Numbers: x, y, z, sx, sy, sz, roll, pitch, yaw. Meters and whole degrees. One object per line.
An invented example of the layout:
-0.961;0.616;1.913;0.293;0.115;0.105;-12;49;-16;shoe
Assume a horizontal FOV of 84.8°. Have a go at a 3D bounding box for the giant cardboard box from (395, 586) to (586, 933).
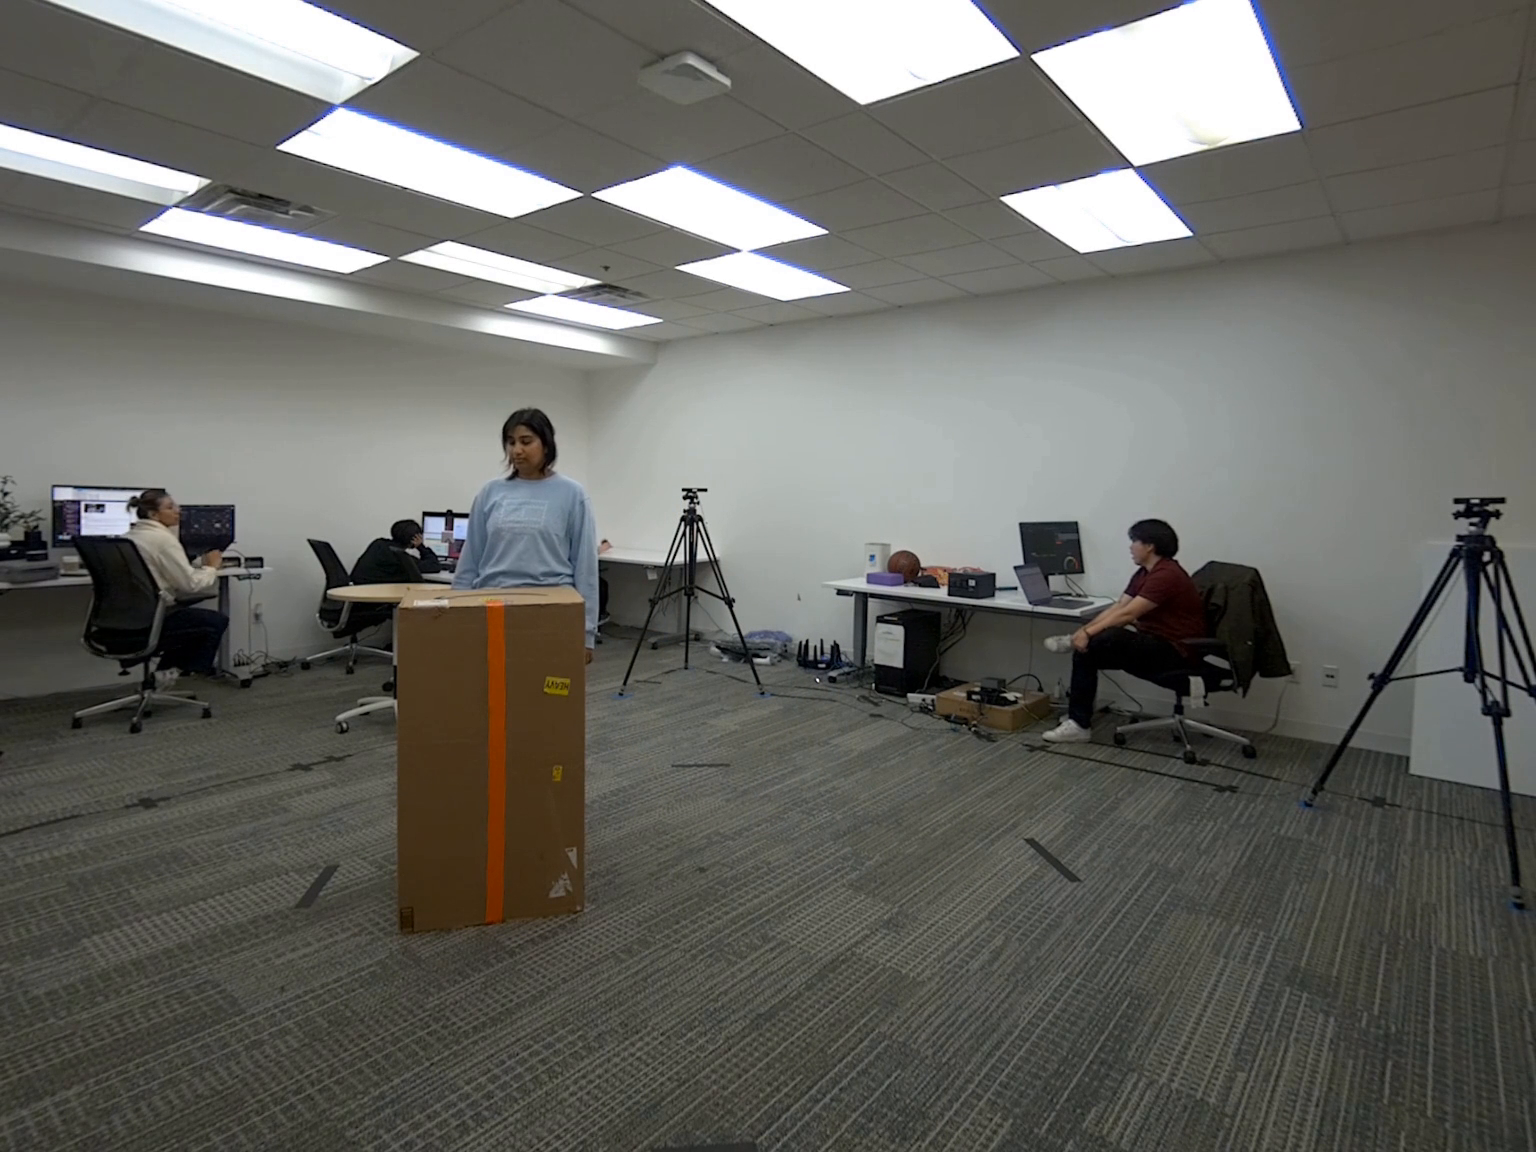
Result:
-0.945;0.574;2.868;0.567;1.022;0.435;-1;4;-18;giant cardboard box
